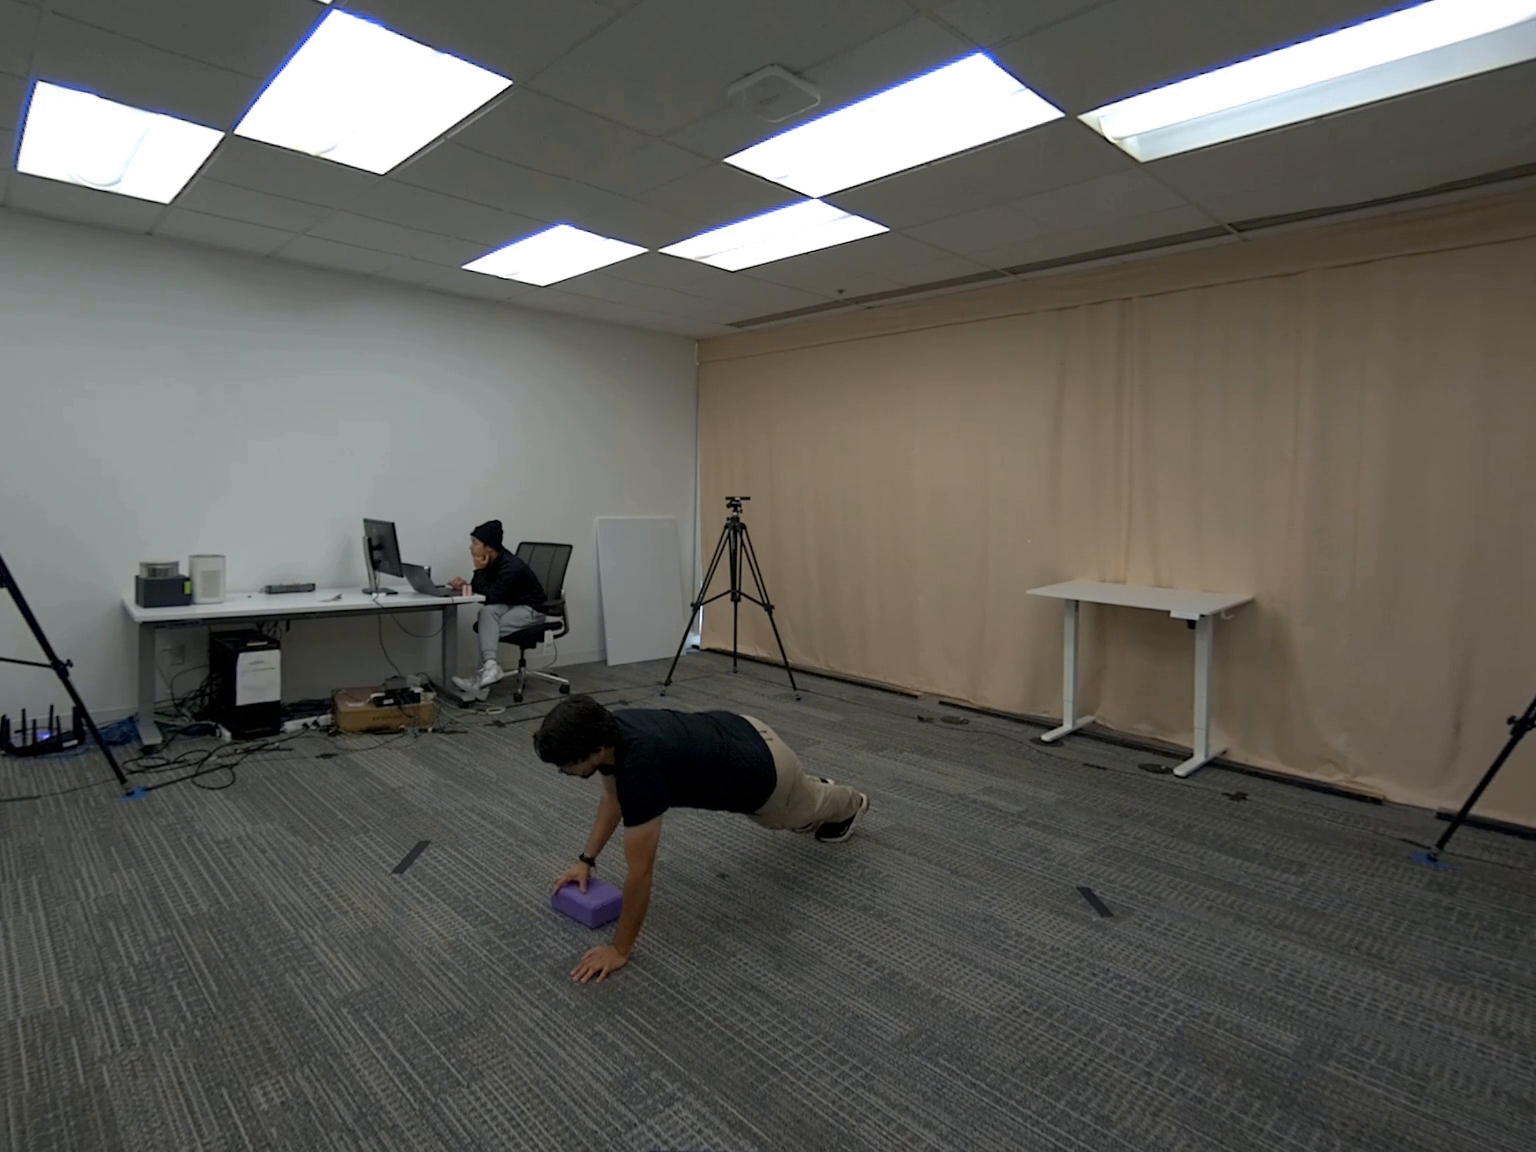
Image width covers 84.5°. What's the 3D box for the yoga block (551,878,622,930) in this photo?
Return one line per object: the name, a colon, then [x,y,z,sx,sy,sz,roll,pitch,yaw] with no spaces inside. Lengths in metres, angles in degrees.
yoga block: [-0.608,1.086,2.810,0.235,0.076,0.146,3,6,40]
